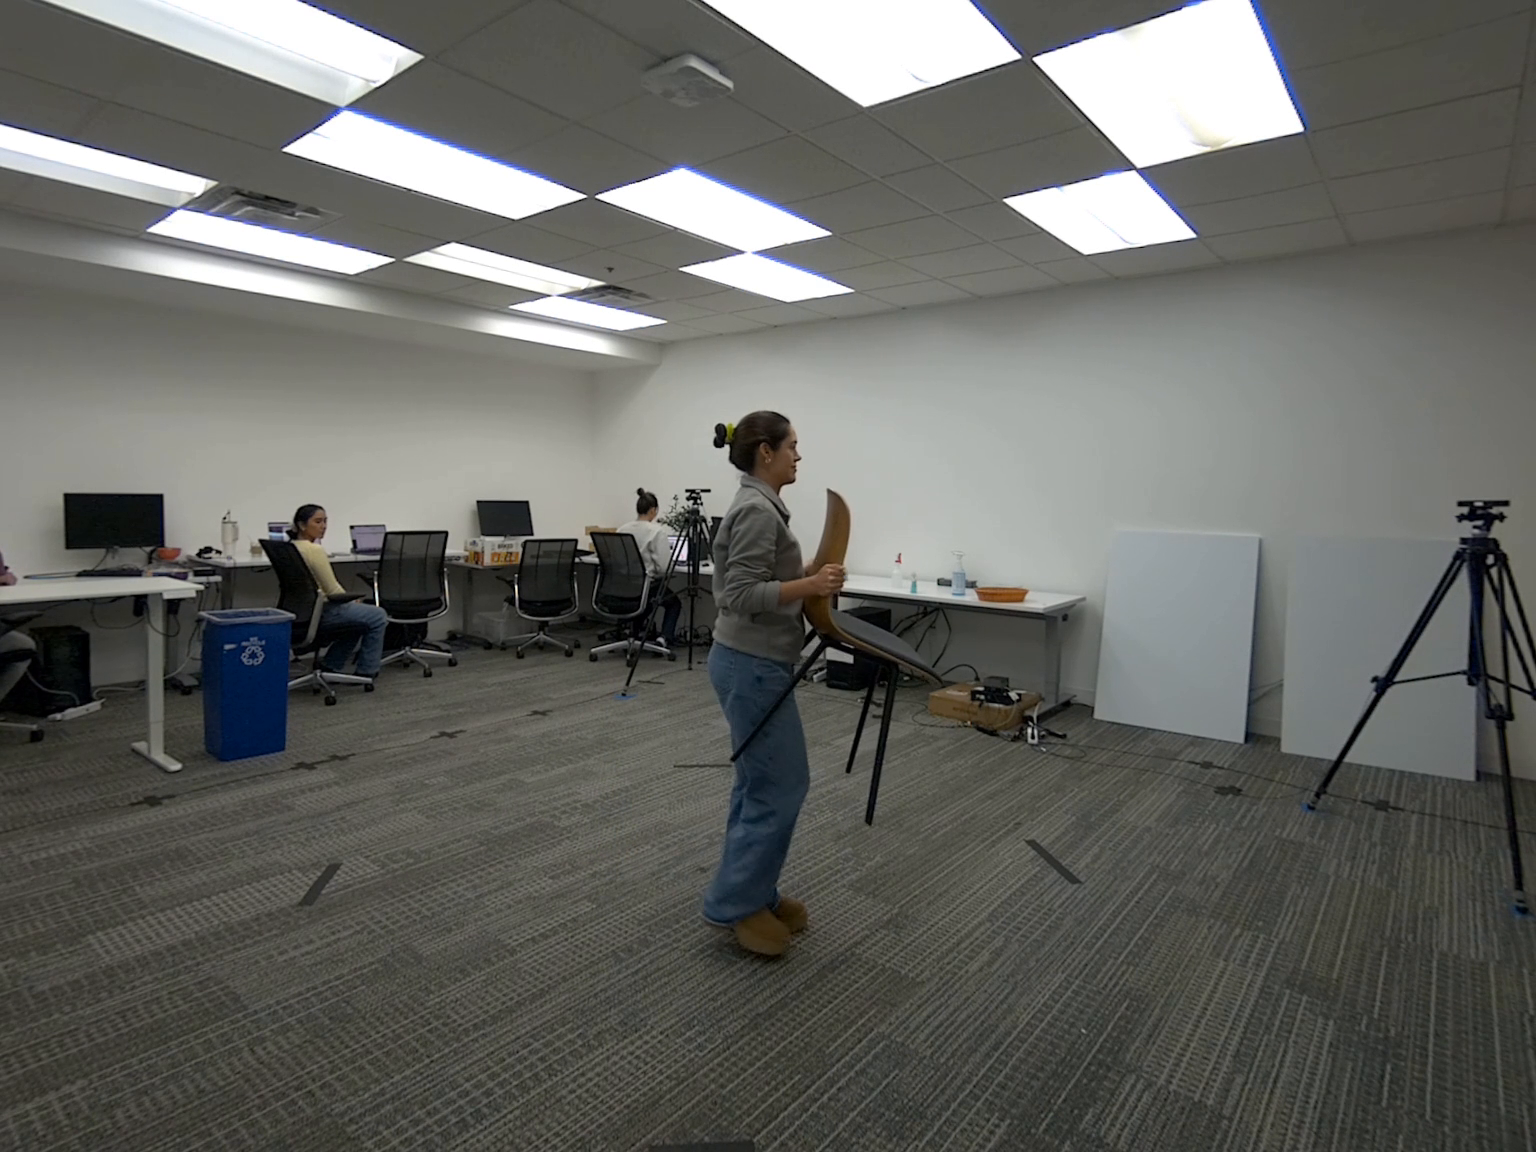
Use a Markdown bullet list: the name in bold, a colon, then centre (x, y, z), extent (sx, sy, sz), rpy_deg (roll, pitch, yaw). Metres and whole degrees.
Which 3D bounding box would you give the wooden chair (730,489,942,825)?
- **wooden chair**: centre (0.272, 0.235, 2.650), extent (0.522, 0.876, 0.480), rpy_deg (20, 4, -2)
